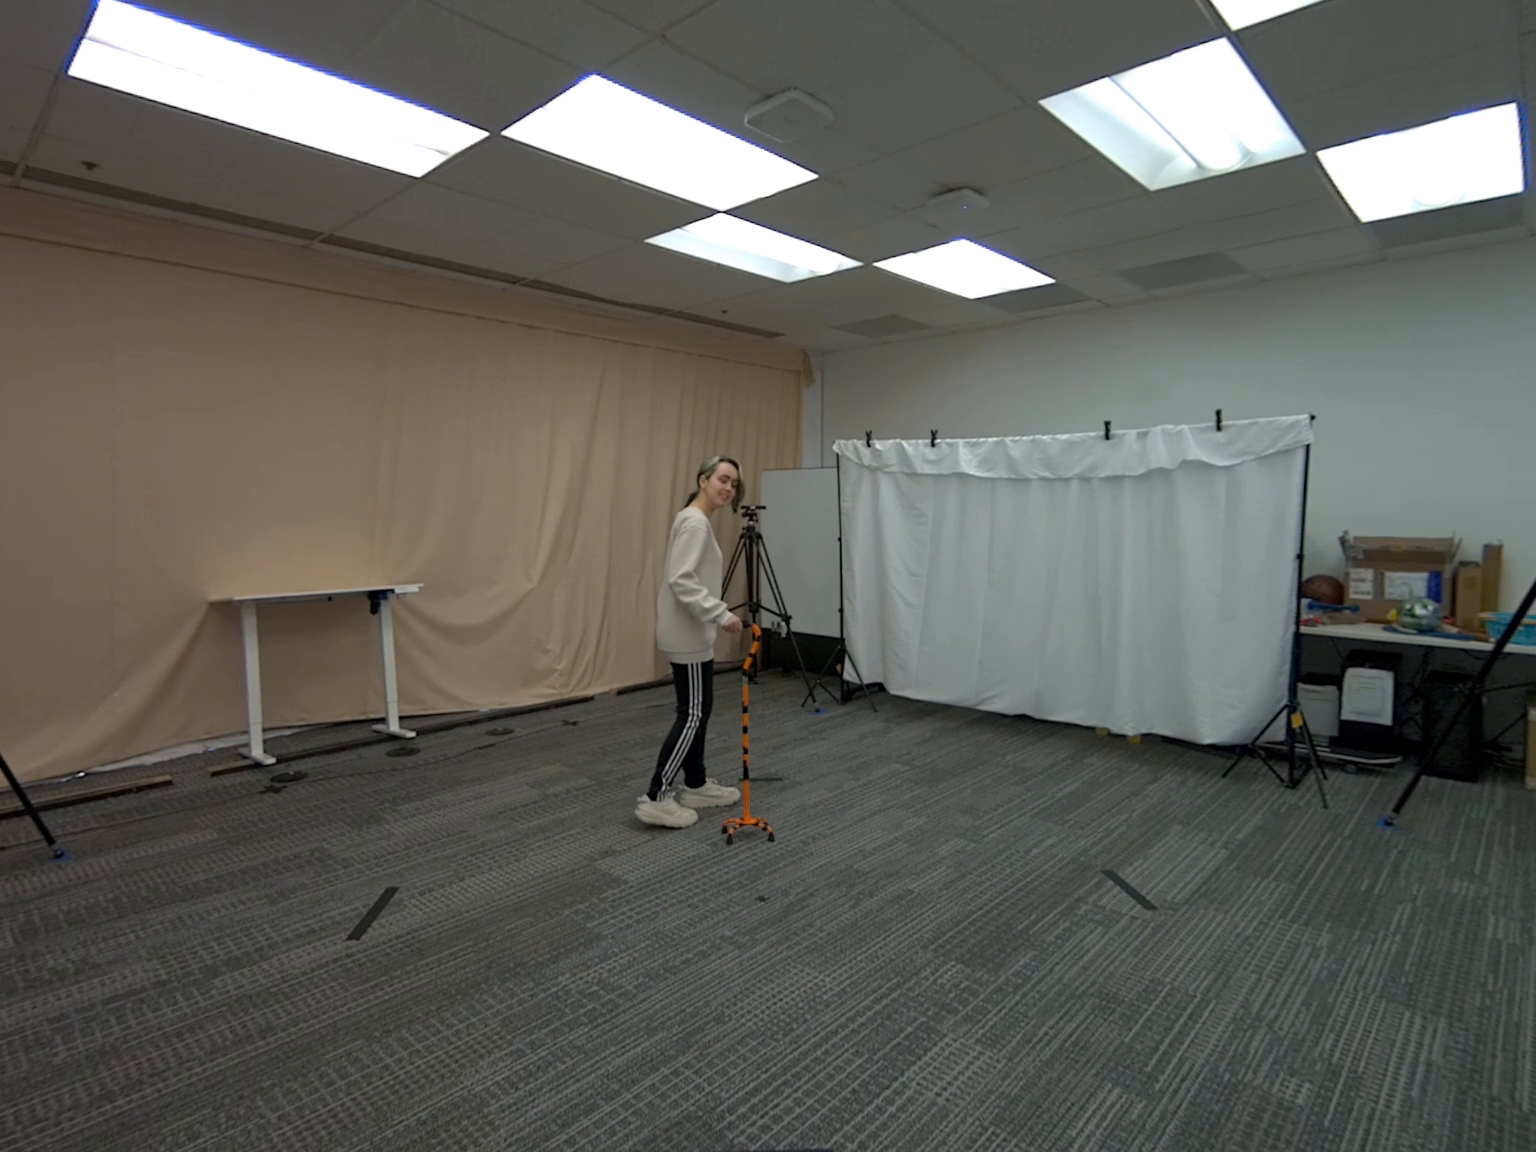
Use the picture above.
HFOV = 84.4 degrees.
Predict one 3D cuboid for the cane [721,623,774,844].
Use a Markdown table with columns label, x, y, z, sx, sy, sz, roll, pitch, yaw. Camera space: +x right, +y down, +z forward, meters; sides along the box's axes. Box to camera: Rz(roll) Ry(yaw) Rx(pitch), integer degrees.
| label | x | y | z | sx | sy | sz | roll | pitch | yaw |
| --- | --- | --- | --- | --- | --- | --- | --- | --- | --- |
| cane | -0.083 | 0.641 | 3.530 | 0.204 | 0.906 | 0.153 | 0 | 2 | -11 |
